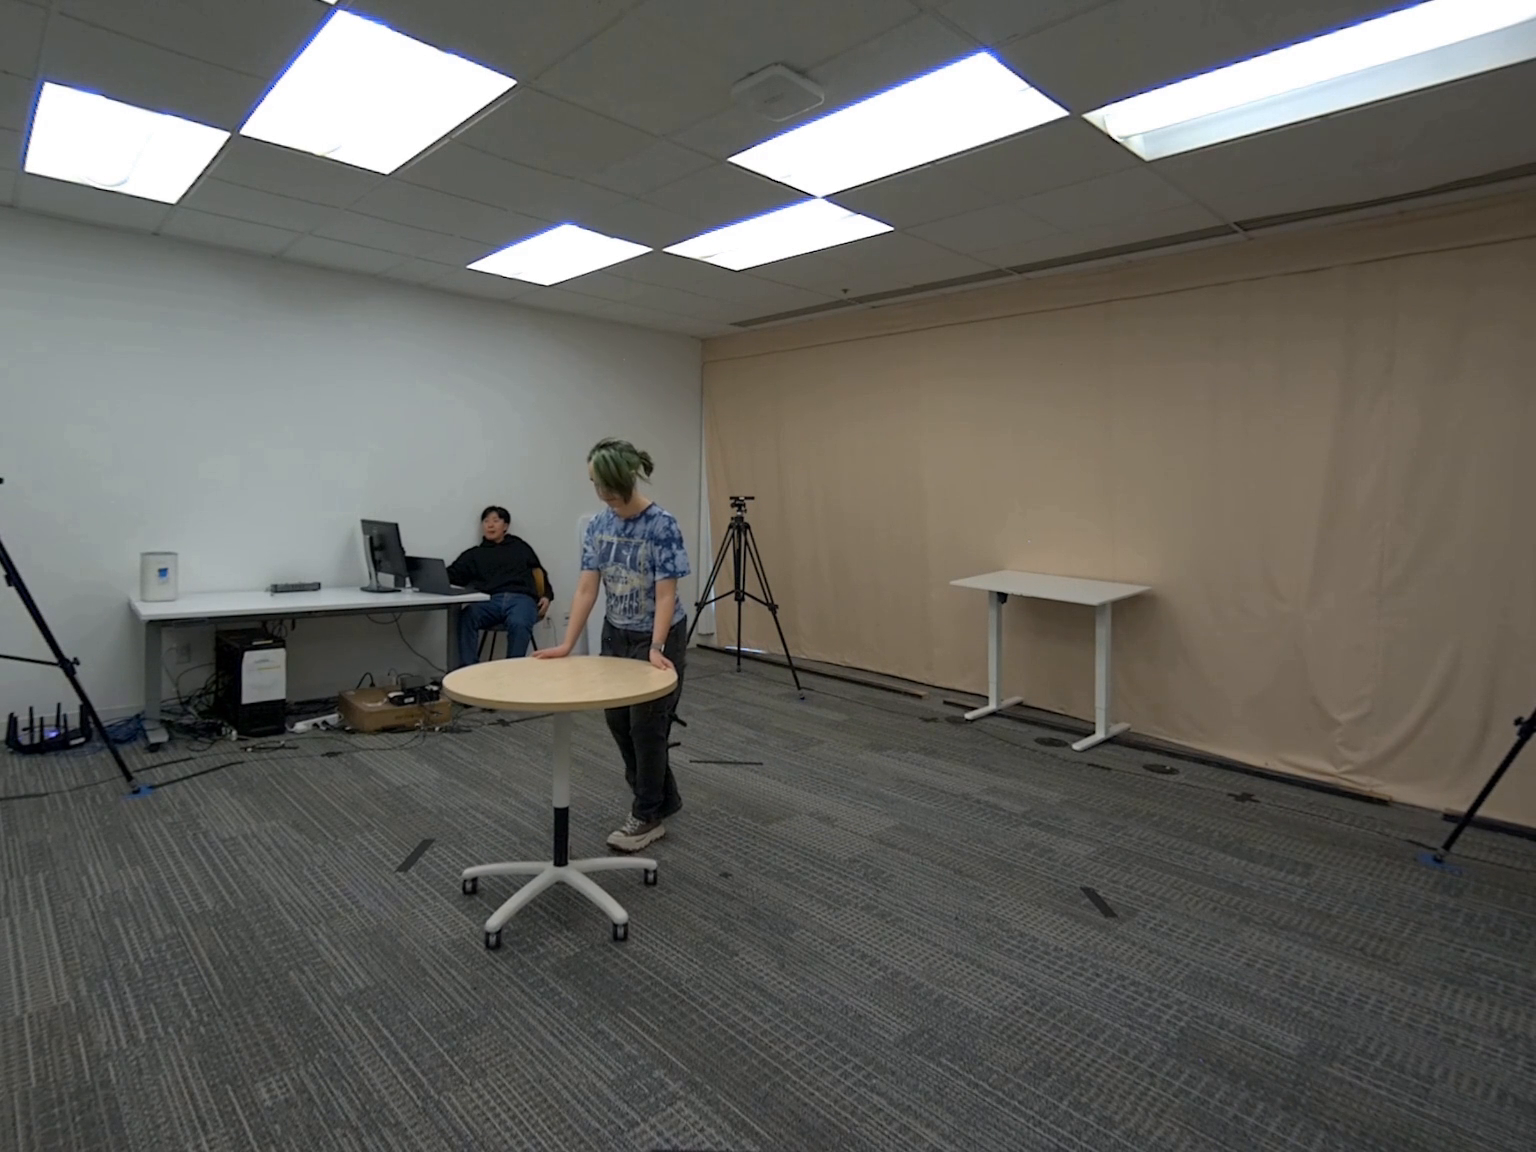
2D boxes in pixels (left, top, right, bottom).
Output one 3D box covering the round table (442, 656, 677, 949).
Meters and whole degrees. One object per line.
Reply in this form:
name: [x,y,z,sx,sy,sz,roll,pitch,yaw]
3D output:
round table: [-0.710,0.732,2.830,0.763,0.792,0.766,1,4,-1]
